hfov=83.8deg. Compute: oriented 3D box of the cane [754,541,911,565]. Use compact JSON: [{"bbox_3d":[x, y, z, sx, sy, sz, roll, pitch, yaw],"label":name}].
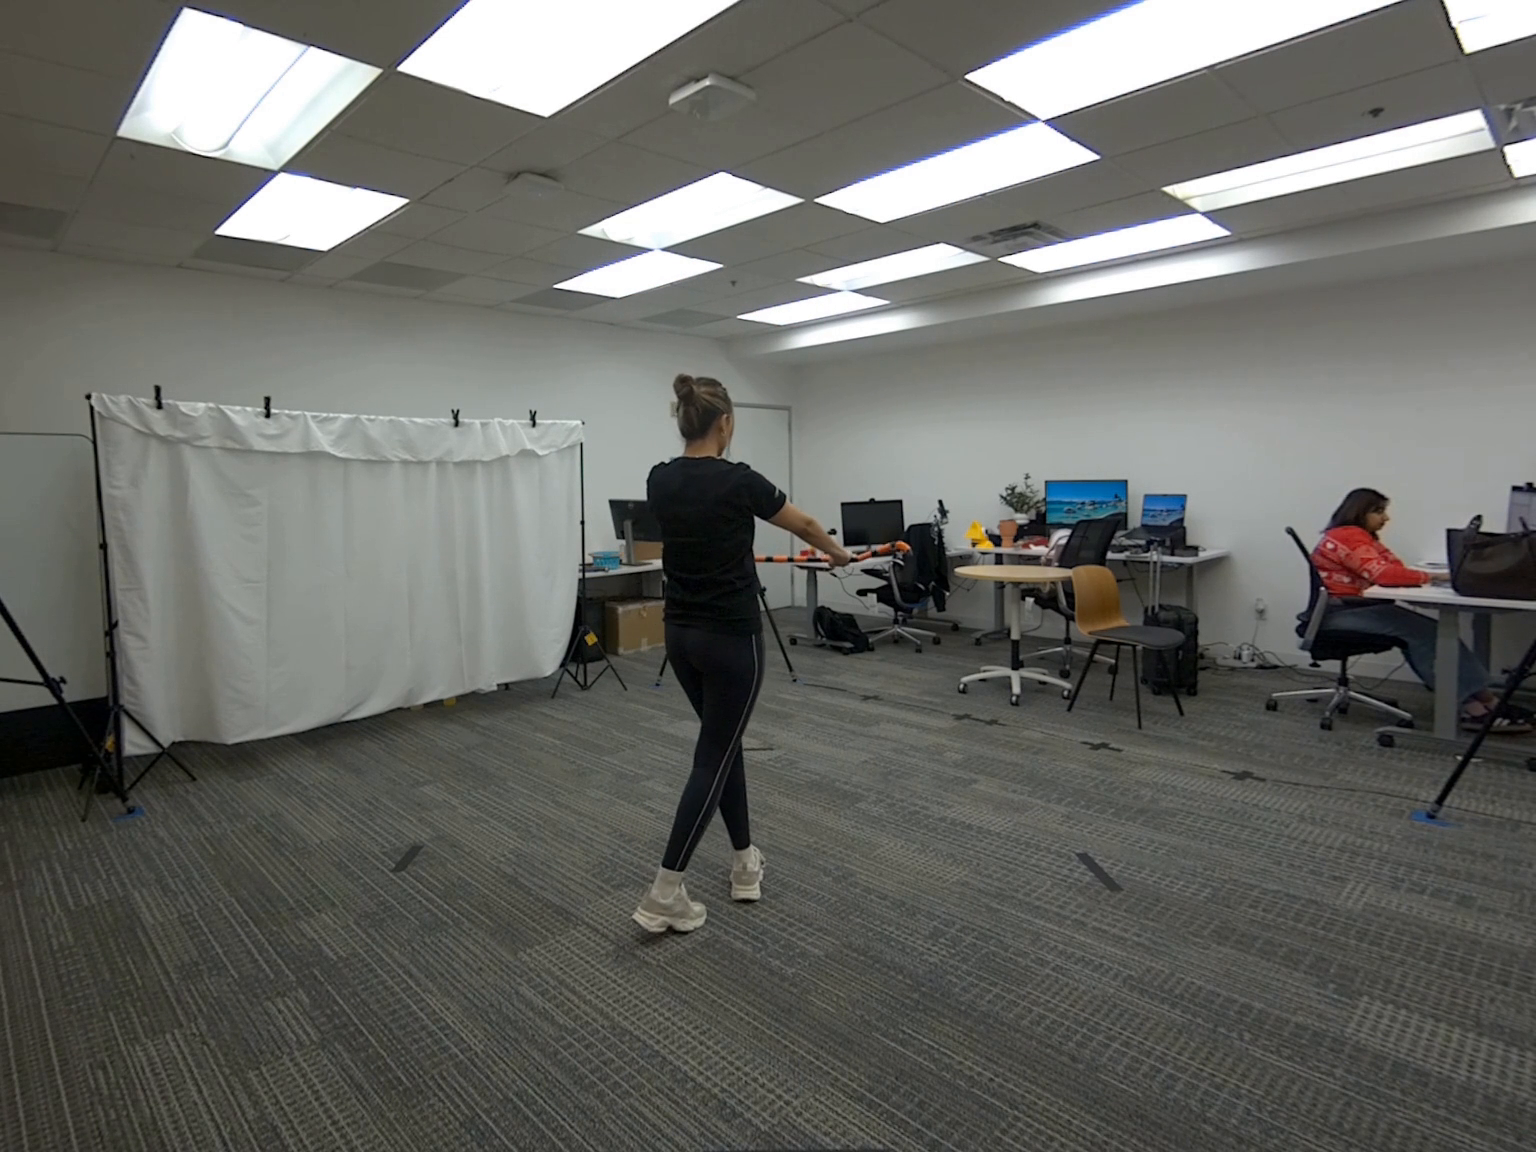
[{"bbox_3d":[0.110,-0.057,3.165,0.932,0.209,0.146,2,-27,30],"label":"cane"}]
